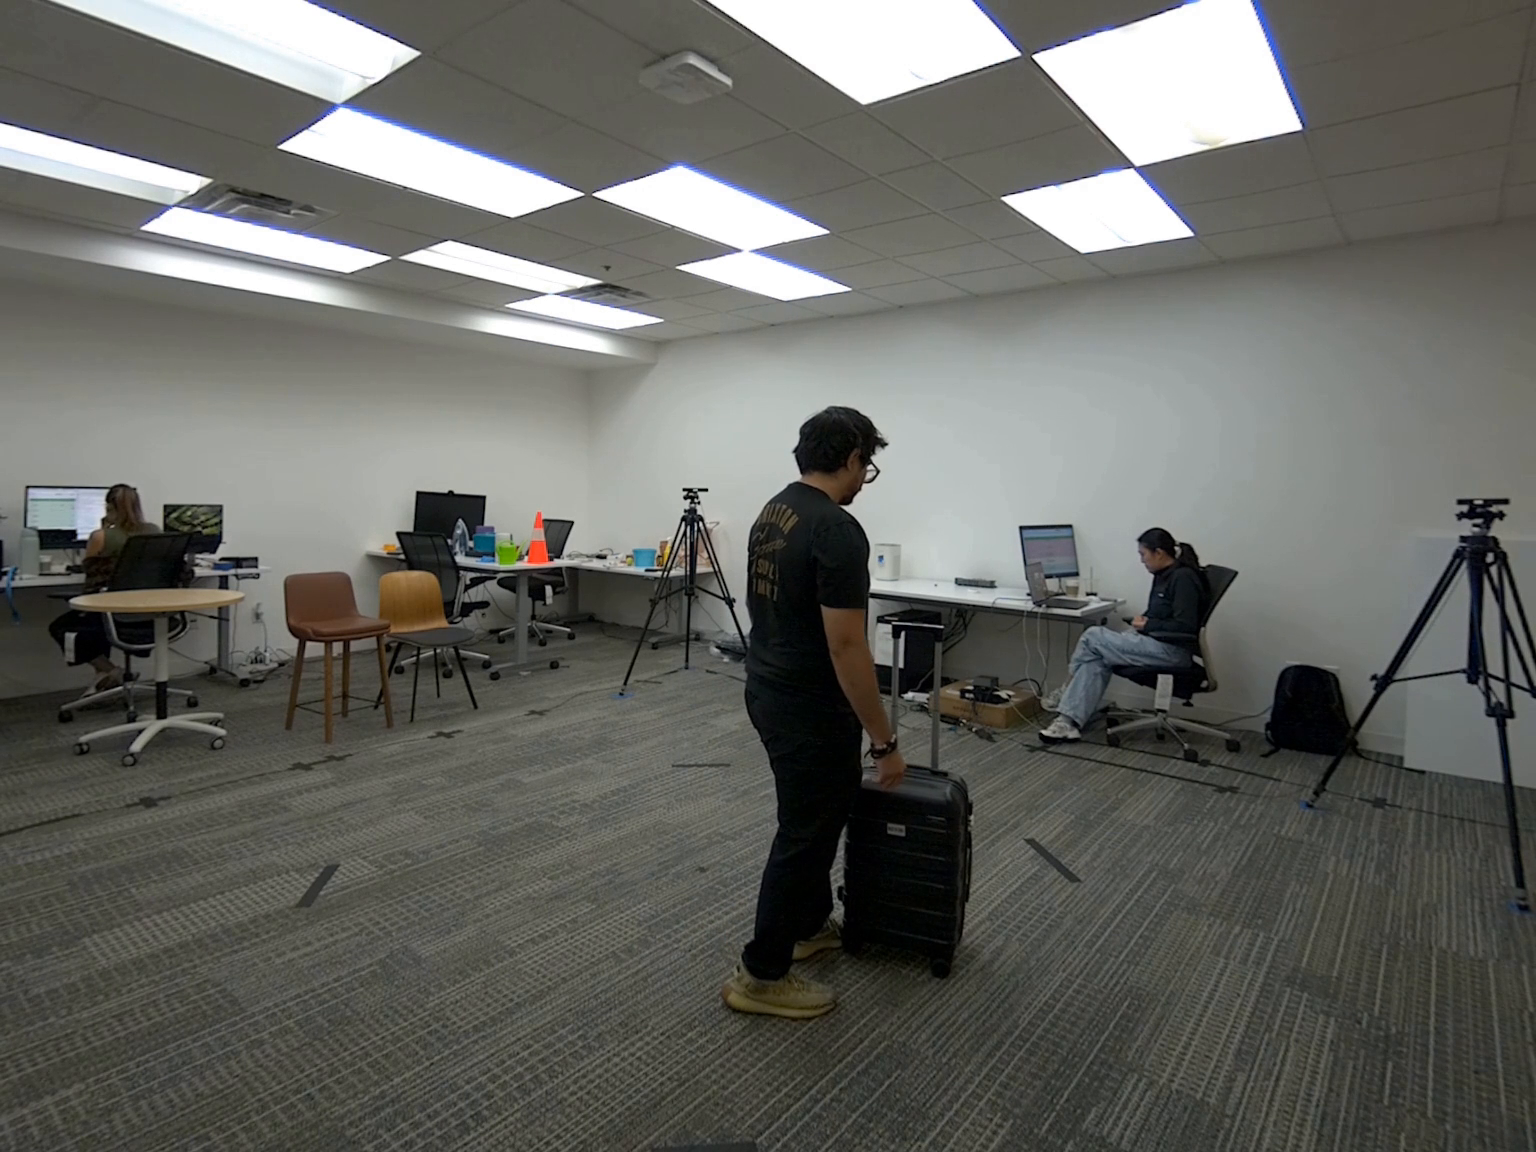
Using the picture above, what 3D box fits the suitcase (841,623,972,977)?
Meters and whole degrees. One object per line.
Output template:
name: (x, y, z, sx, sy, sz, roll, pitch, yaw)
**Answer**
suitcase: (0.425, 0.655, 2.581, 0.392, 0.975, 0.253, 2, 4, 19)
